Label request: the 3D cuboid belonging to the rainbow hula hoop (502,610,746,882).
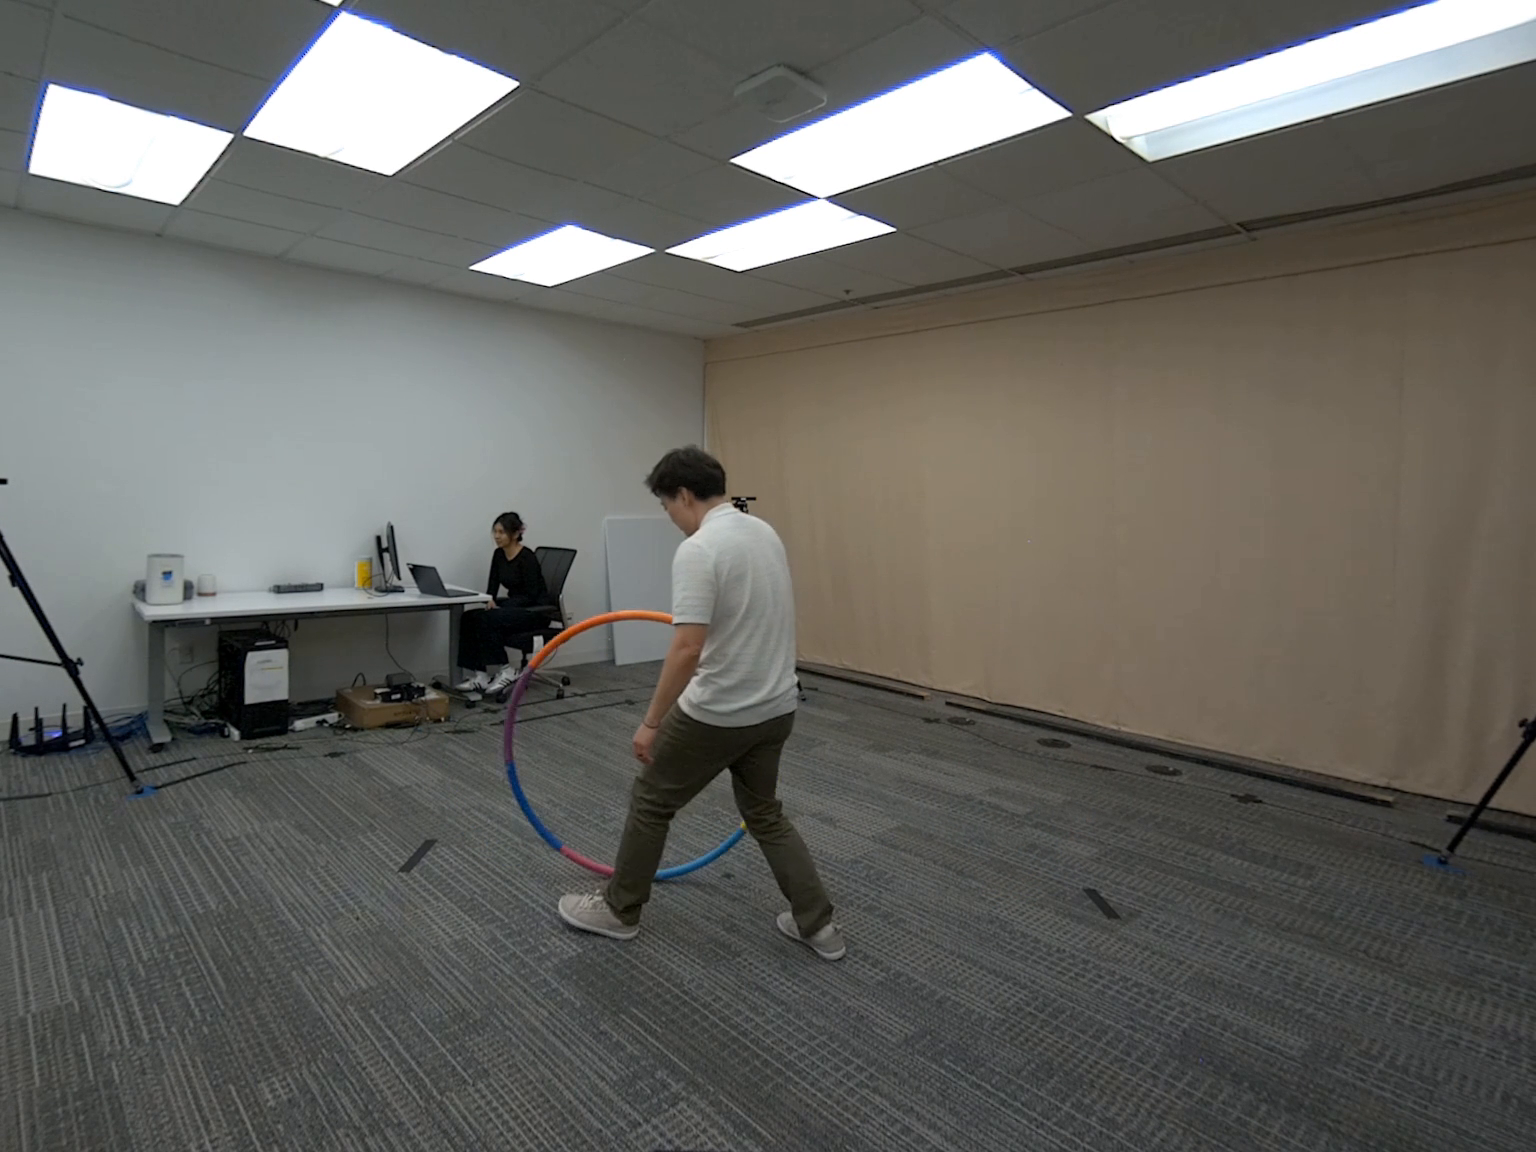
[{"bbox_3d":[-0.477,0.628,3.026,0.982,0.976,0.035,2,2,4],"label":"rainbow hula hoop"}]
